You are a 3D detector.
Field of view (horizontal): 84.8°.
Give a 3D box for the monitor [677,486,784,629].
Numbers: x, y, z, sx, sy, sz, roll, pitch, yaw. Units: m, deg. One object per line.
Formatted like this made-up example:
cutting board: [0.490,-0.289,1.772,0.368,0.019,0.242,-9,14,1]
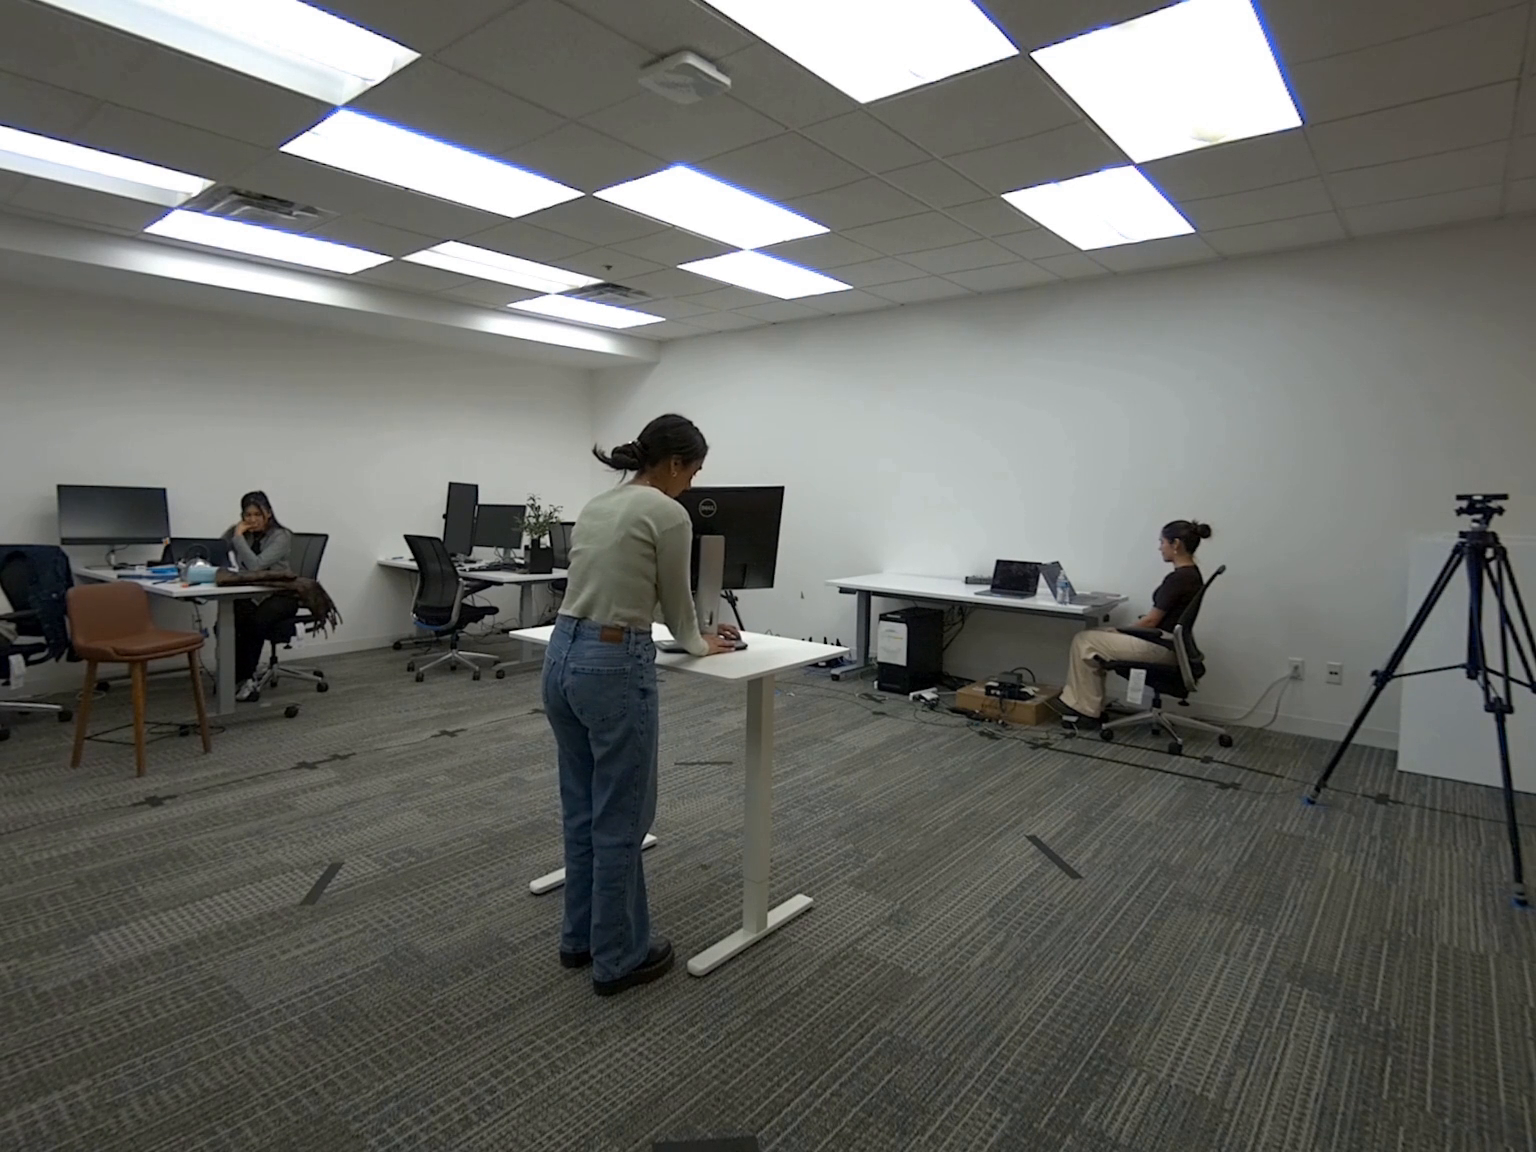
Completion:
monitor: [-0.209,-0.031,2.677,0.519,0.516,0.178,-3,1,-22]
